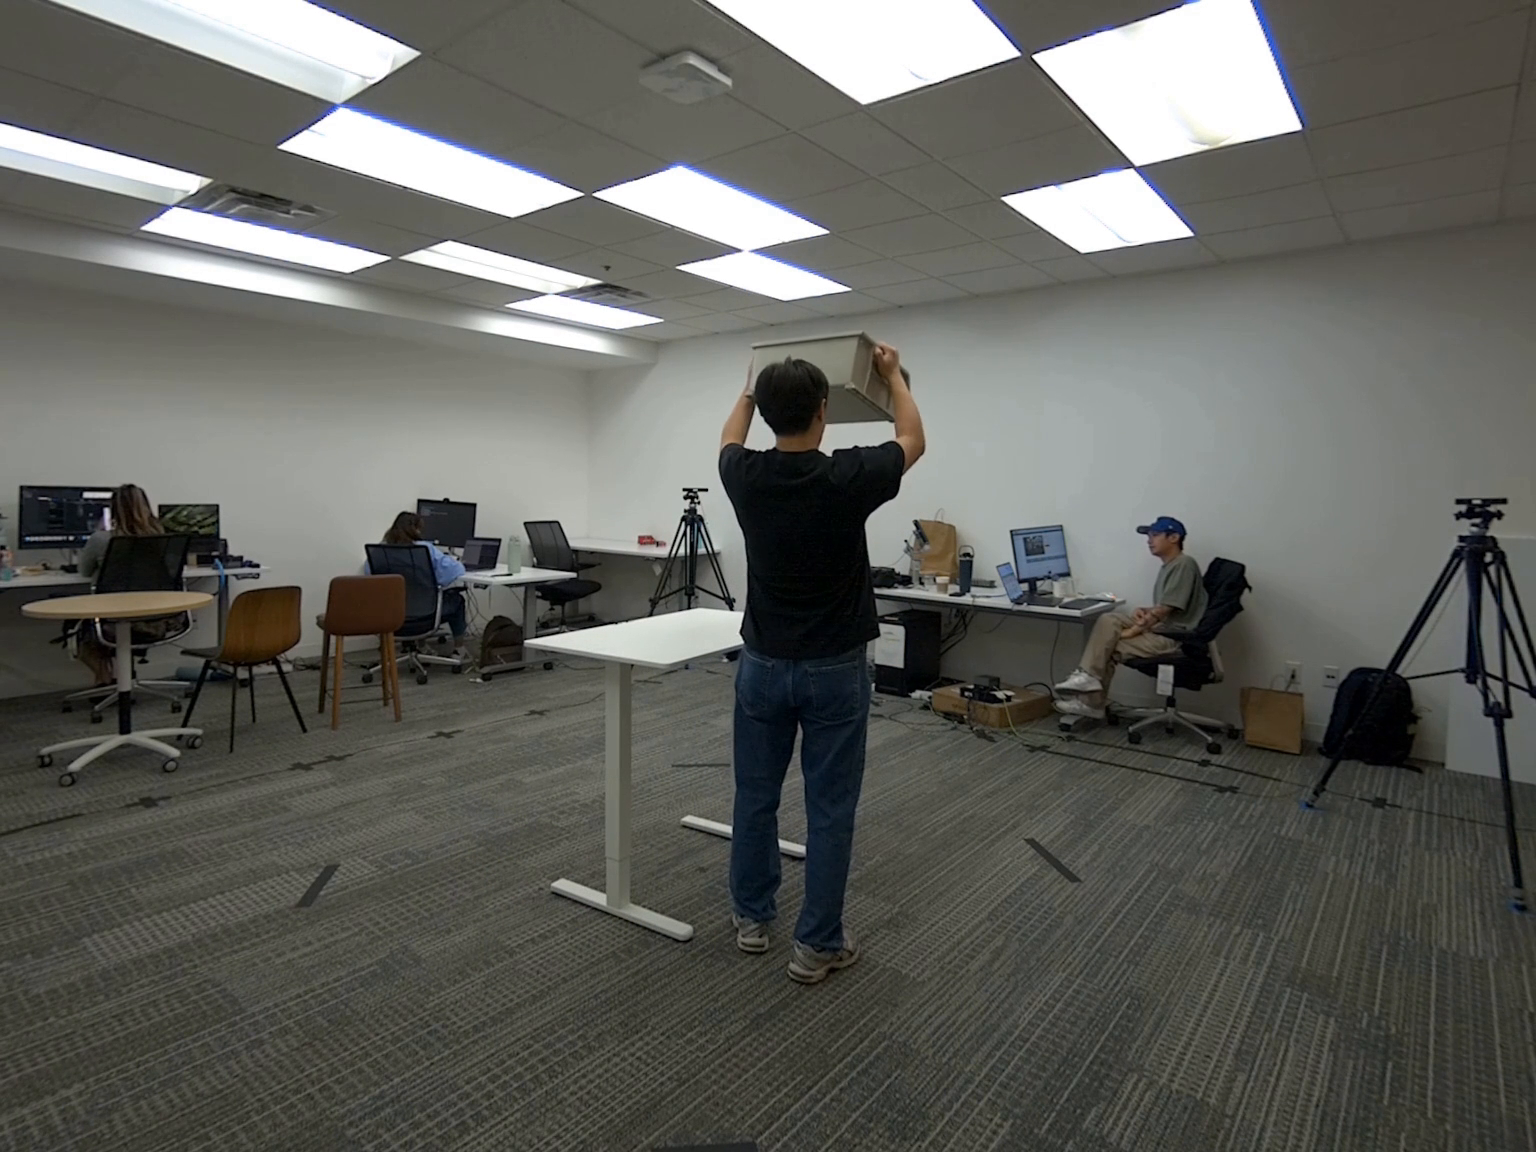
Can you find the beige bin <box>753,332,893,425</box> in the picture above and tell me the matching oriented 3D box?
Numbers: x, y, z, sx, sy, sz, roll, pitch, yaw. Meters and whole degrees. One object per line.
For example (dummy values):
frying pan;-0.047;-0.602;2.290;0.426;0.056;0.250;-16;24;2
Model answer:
beige bin;0.188;-0.623;2.812;0.436;0.190;0.362;4;-10;38
